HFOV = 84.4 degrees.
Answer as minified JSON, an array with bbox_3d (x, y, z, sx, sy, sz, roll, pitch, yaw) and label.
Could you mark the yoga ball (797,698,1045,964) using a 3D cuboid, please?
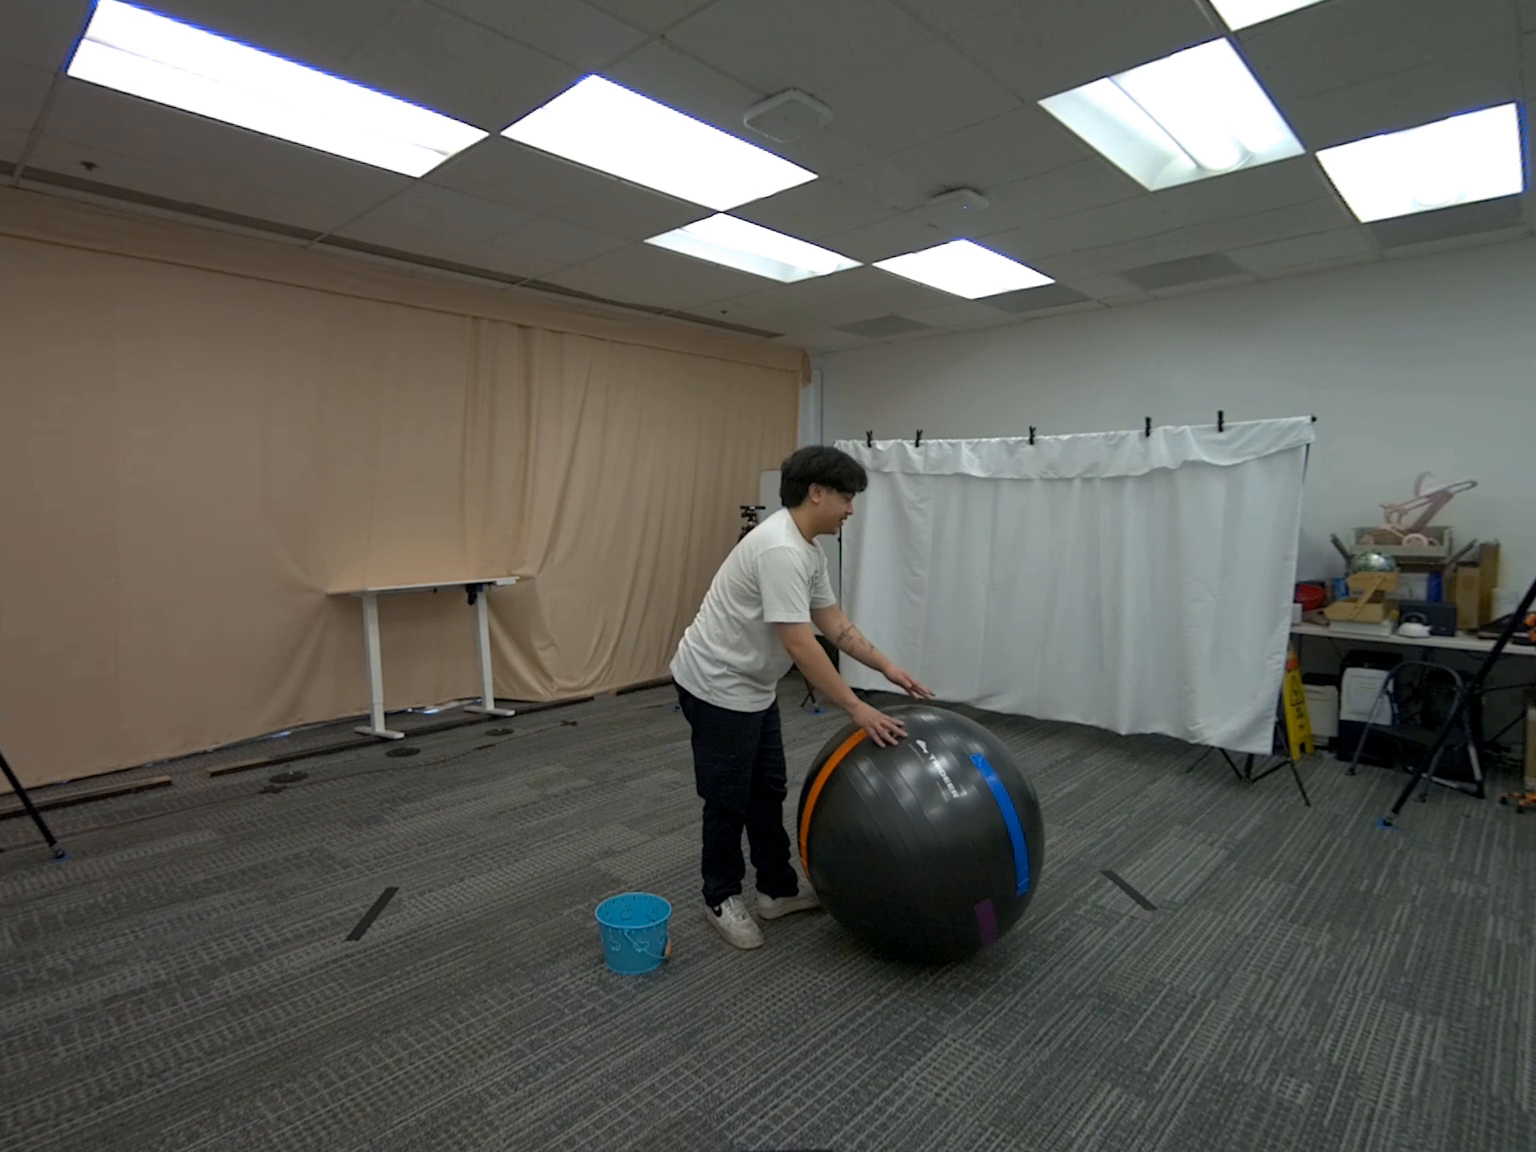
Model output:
[{"bbox_3d":[0.482,0.803,2.664,0.757,0.756,0.760,0,4,-2],"label":"yoga ball"}]
